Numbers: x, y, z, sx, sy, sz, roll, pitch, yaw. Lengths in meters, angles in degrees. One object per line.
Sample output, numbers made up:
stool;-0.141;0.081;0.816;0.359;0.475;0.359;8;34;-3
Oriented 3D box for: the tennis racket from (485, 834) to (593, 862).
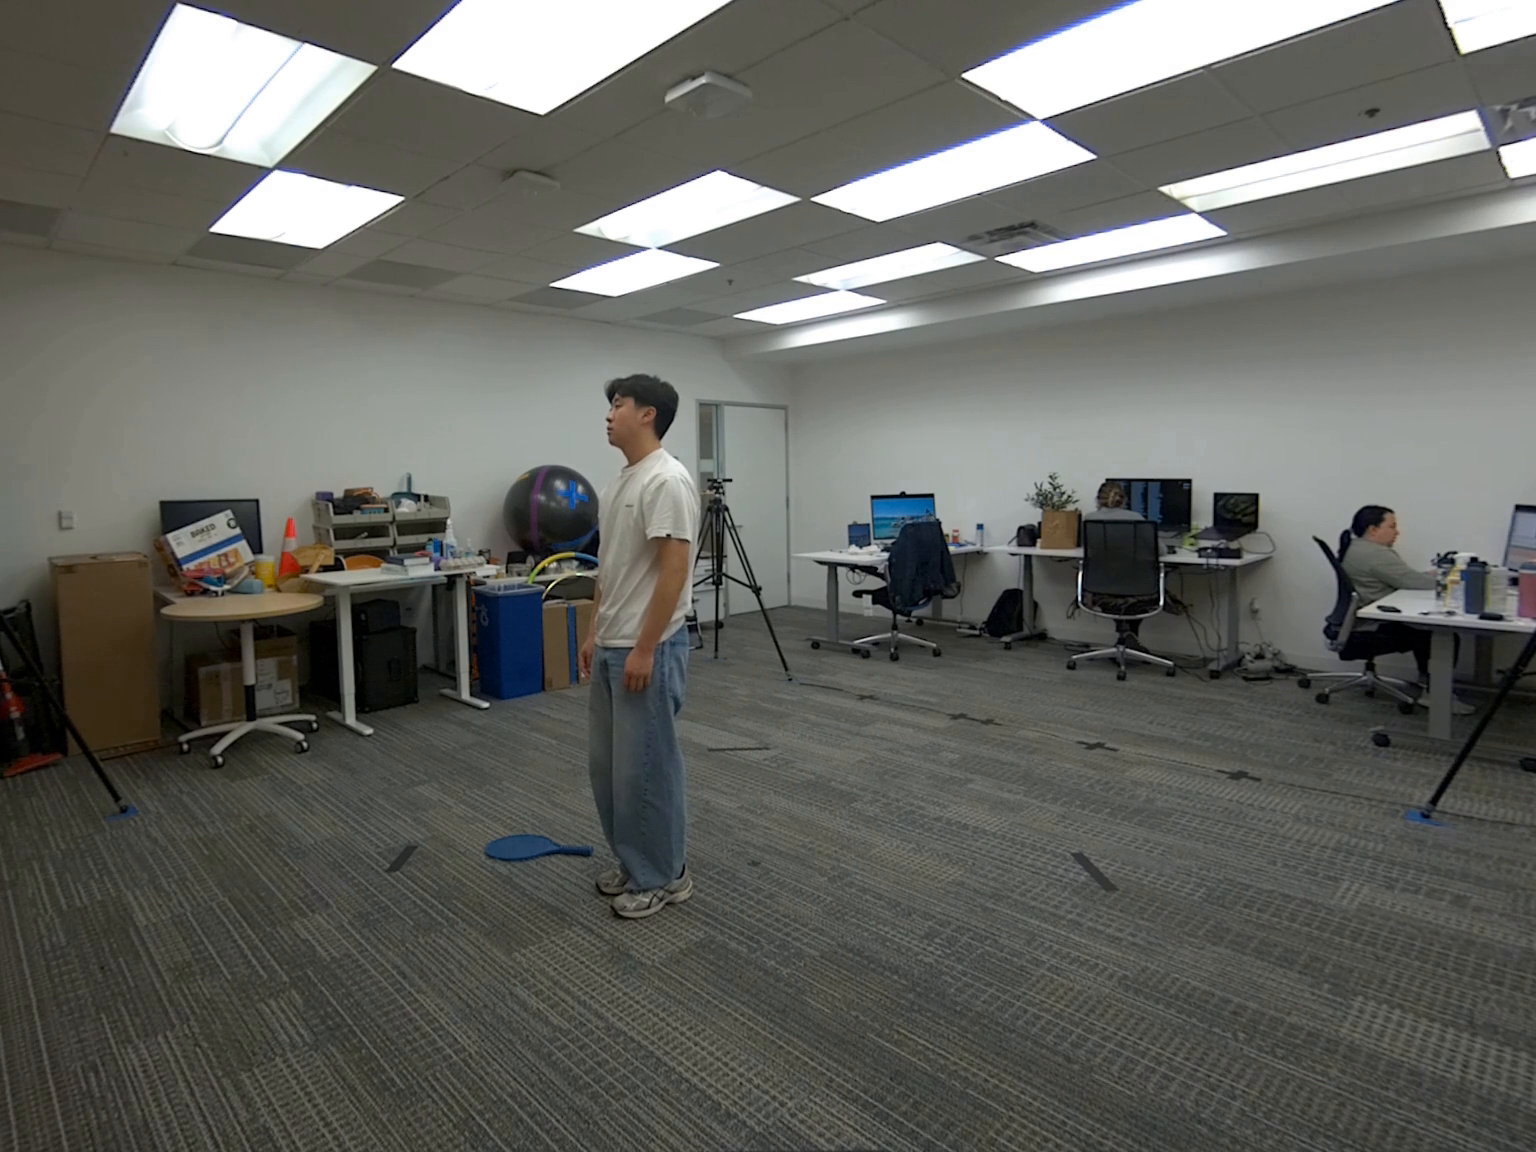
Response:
tennis racket;-0.862;1.032;3.240;0.439;0.031;0.212;-1;7;15
